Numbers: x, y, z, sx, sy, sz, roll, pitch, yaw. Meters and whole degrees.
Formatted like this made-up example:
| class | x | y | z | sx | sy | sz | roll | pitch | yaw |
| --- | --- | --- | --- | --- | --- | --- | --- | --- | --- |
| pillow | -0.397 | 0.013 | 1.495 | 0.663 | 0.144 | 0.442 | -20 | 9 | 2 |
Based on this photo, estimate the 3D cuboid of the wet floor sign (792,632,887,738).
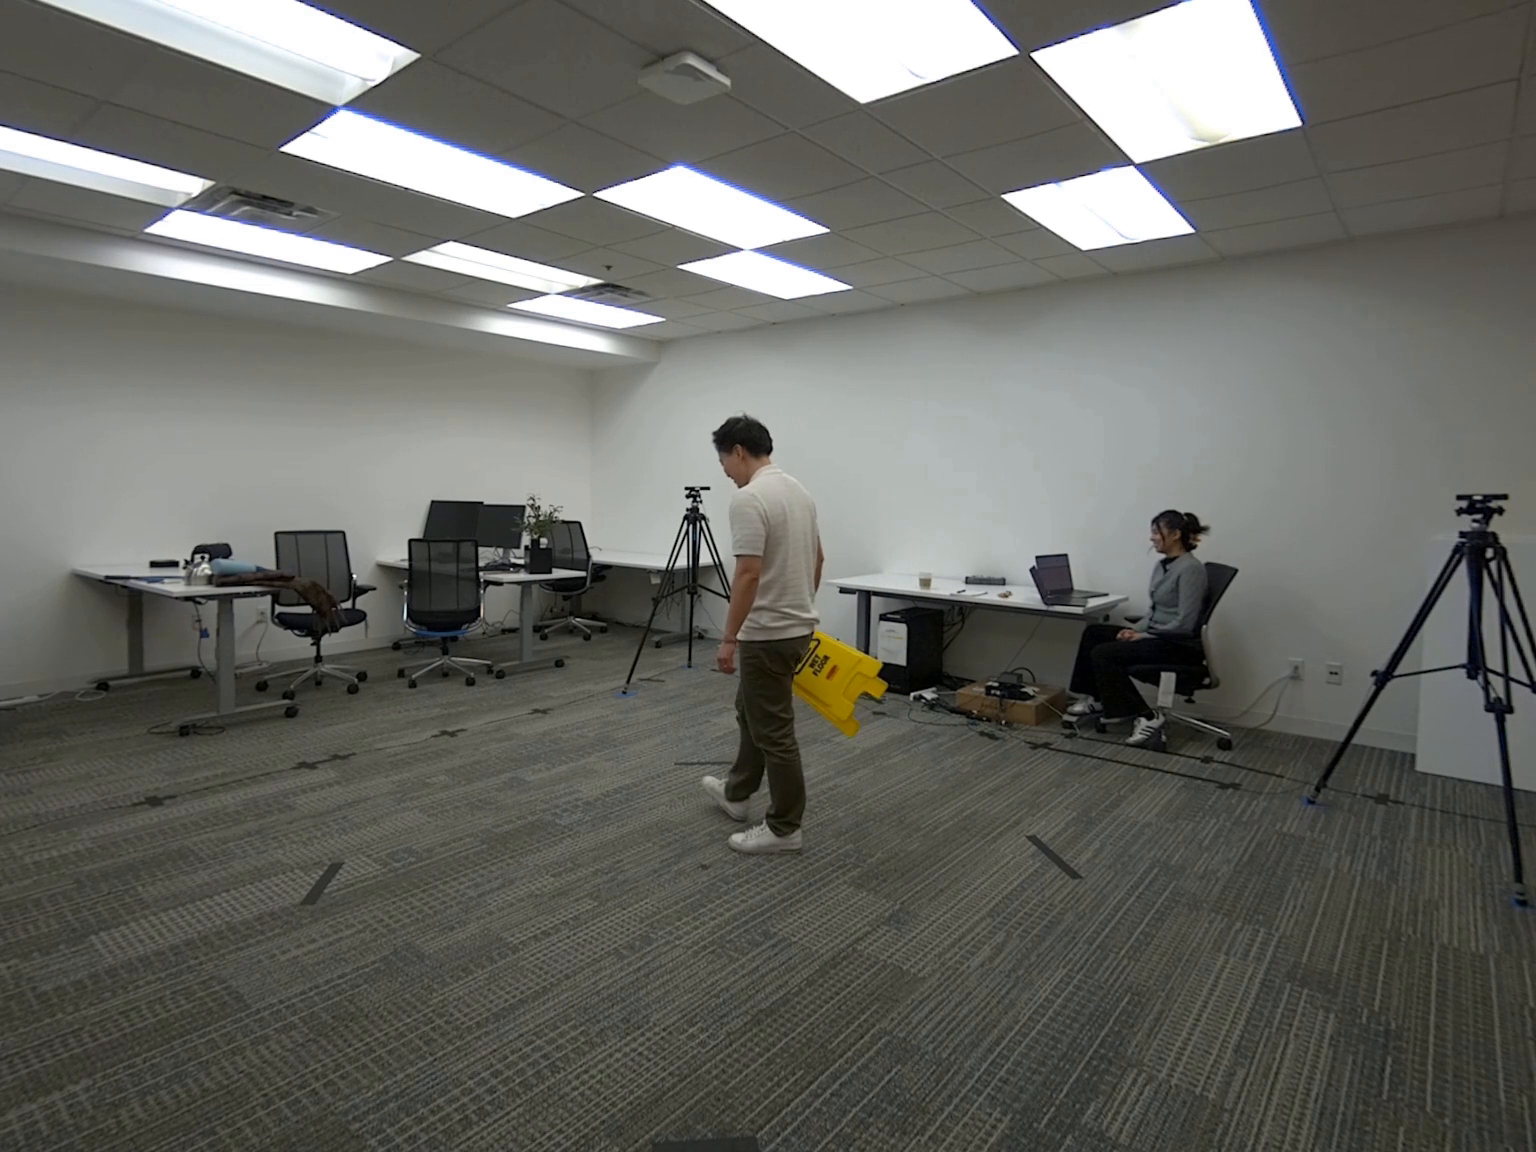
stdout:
| class | x | y | z | sx | sy | sz | roll | pitch | yaw |
| --- | --- | --- | --- | --- | --- | --- | --- | --- | --- |
| wet floor sign | 0.146 | 0.355 | 3.609 | 0.668 | 0.282 | 0.280 | 32 | -13 | 26 |
